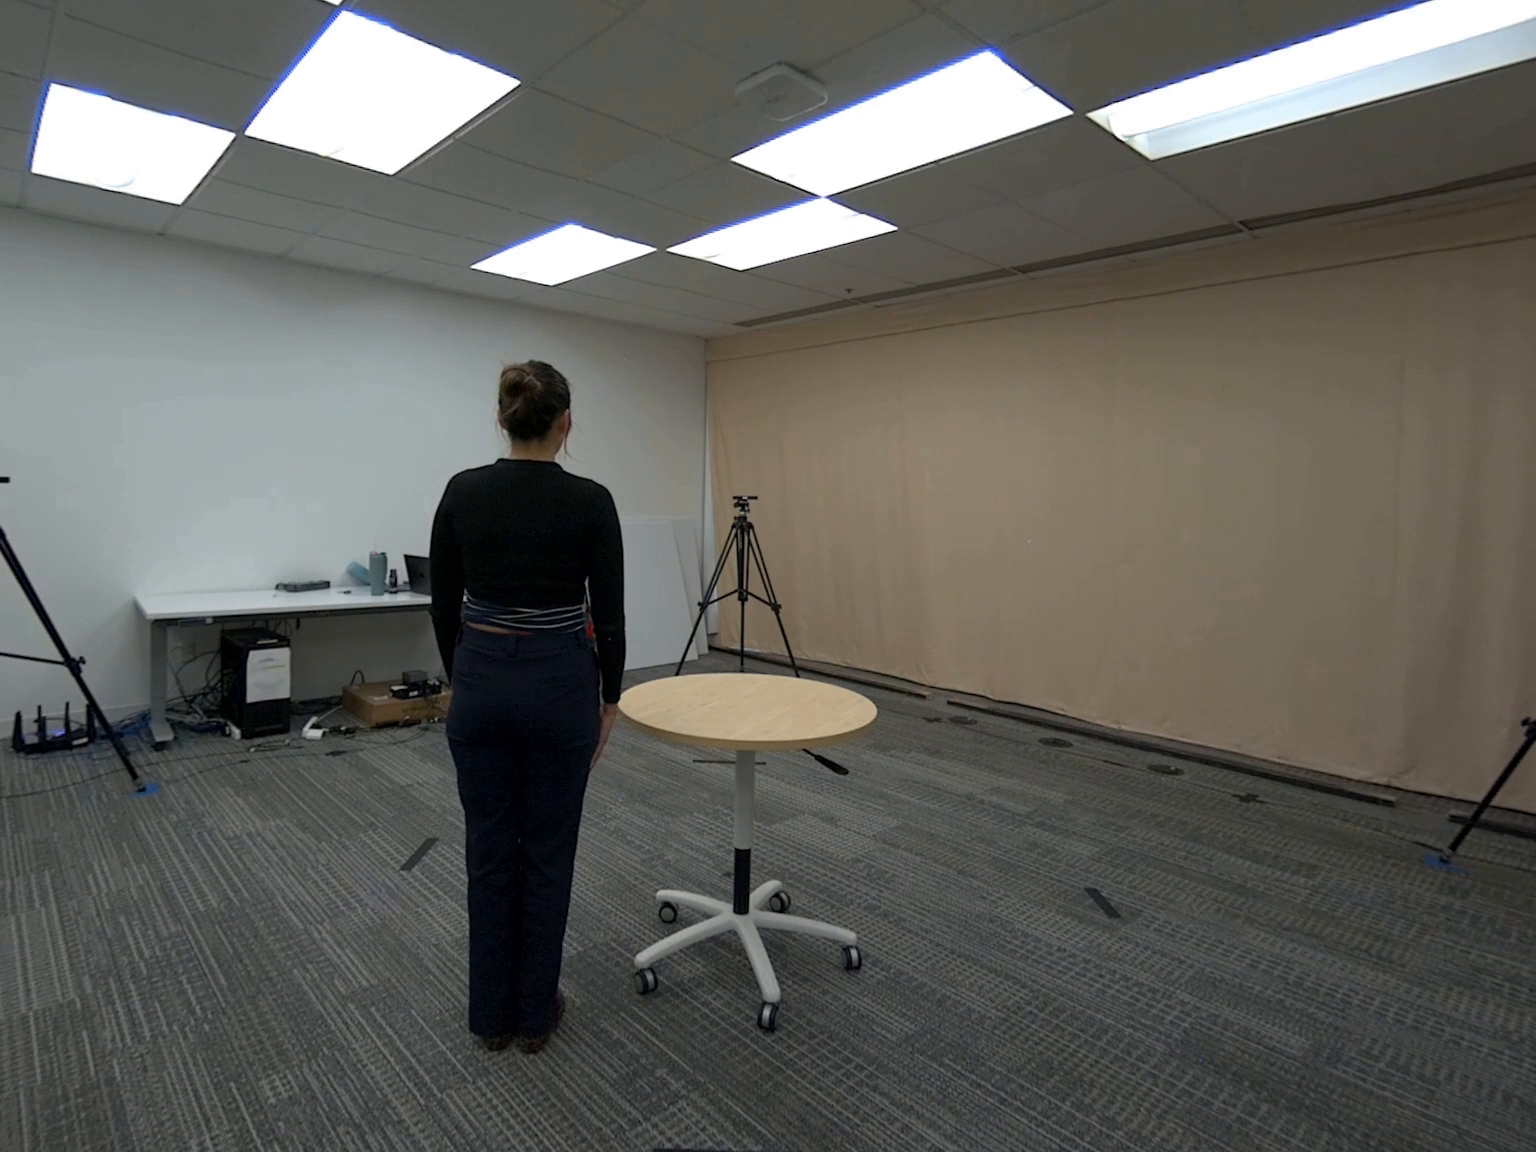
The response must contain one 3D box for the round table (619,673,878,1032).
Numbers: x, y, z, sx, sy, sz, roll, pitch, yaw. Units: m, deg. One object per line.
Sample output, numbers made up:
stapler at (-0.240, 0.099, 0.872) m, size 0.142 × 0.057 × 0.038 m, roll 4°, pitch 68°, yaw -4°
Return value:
round table at (-0.082, 0.770, 2.529) m, size 0.763 × 0.791 × 0.767 m, roll 2°, pitch 5°, yaw -1°
